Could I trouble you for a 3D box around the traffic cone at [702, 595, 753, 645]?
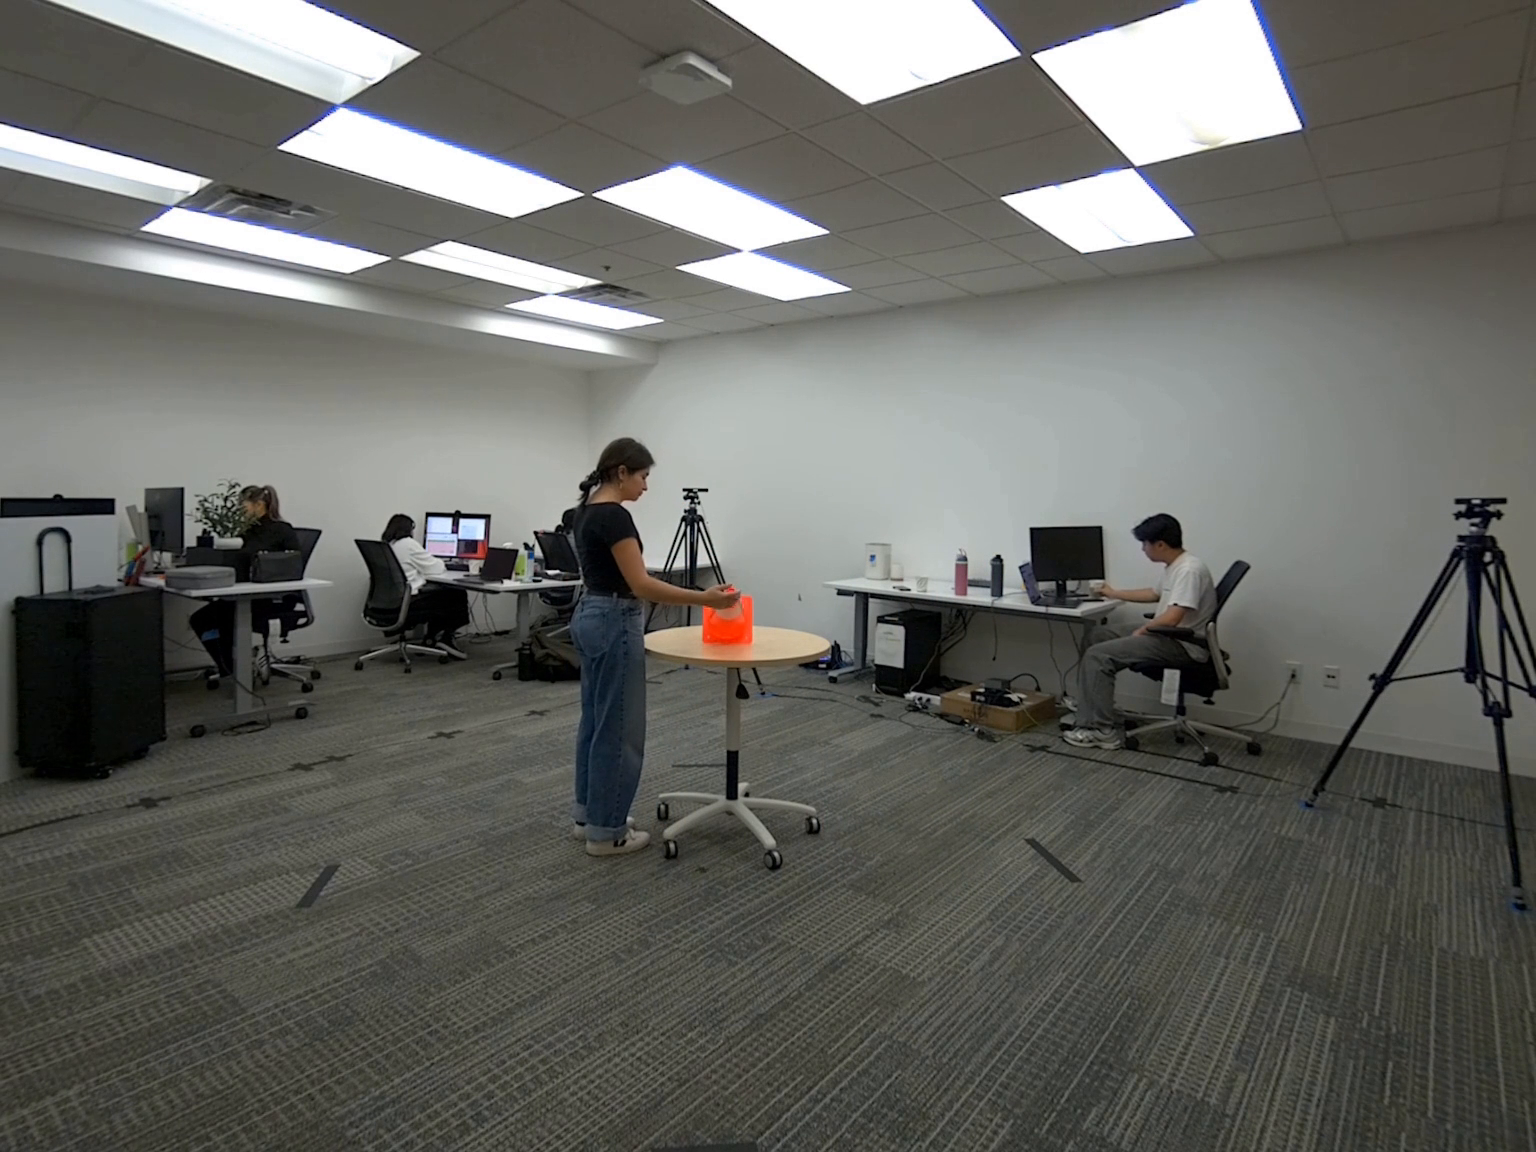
[{"bbox_3d":[-0.151,0.107,3.231,0.204,0.208,0.376,-9,-19,-5],"label":"traffic cone"}]
